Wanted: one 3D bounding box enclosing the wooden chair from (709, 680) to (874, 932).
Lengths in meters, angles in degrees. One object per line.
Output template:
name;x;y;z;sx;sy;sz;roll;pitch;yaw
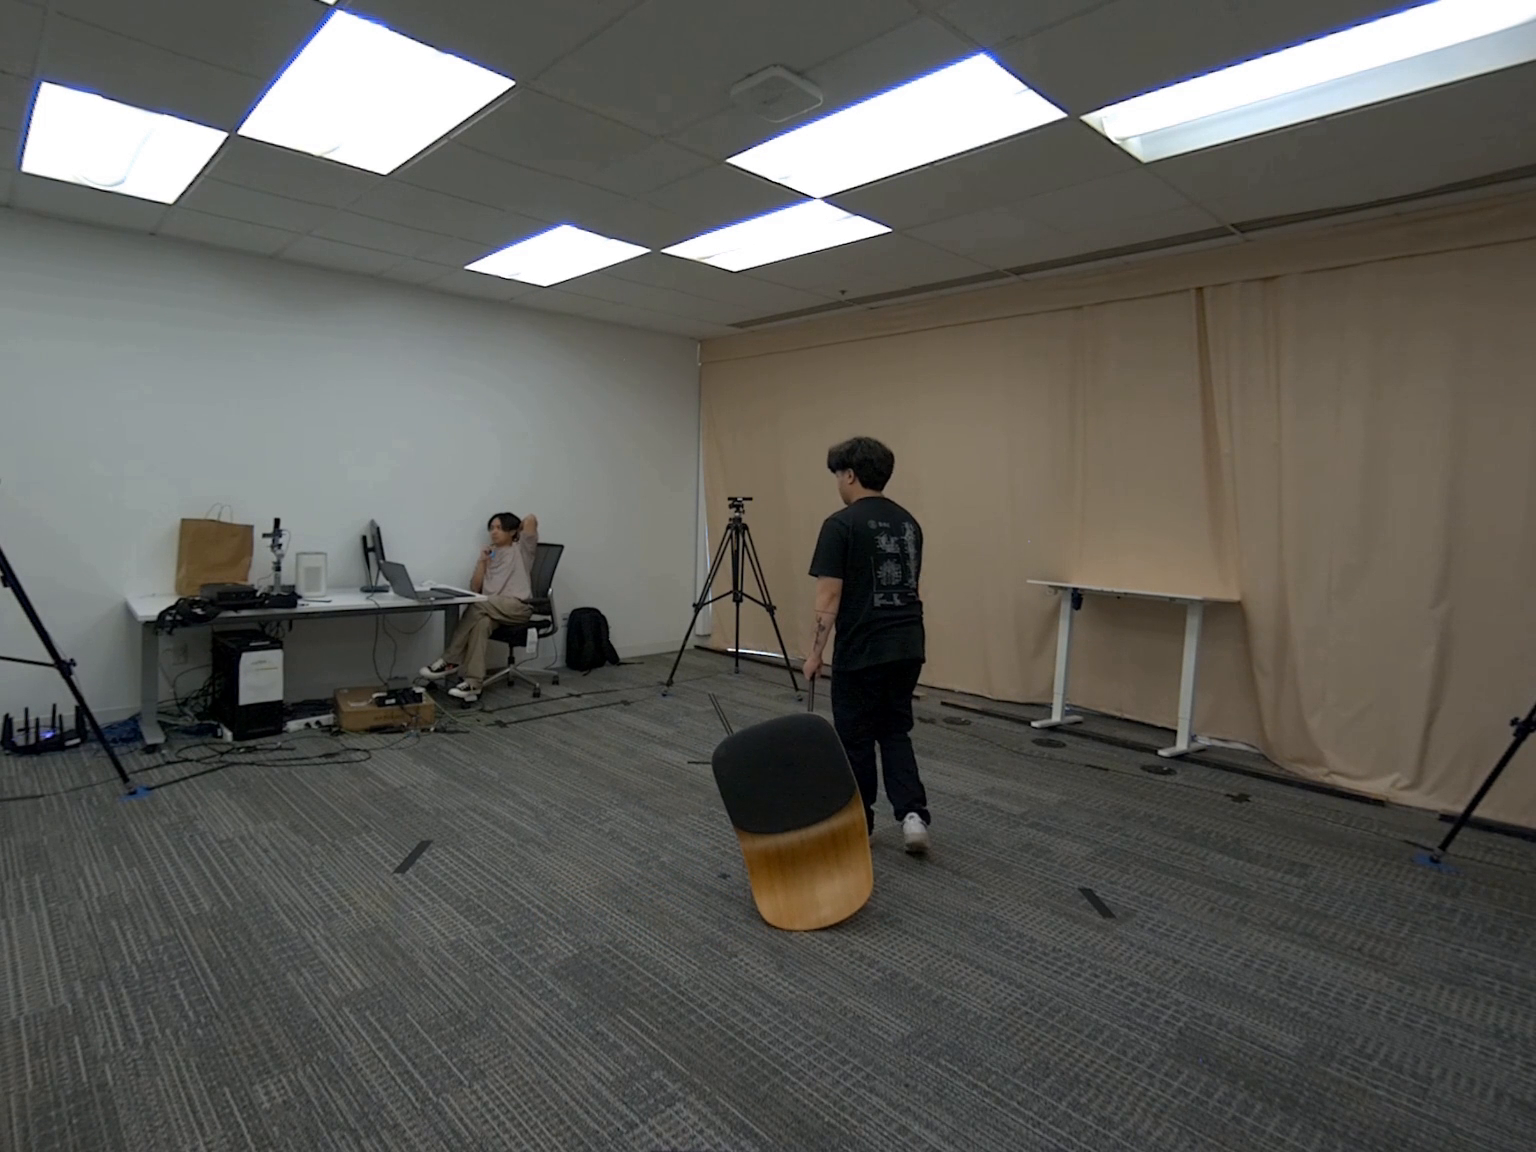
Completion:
wooden chair;0.060;0.744;3.028;0.479;0.513;0.893;-19;23;3
